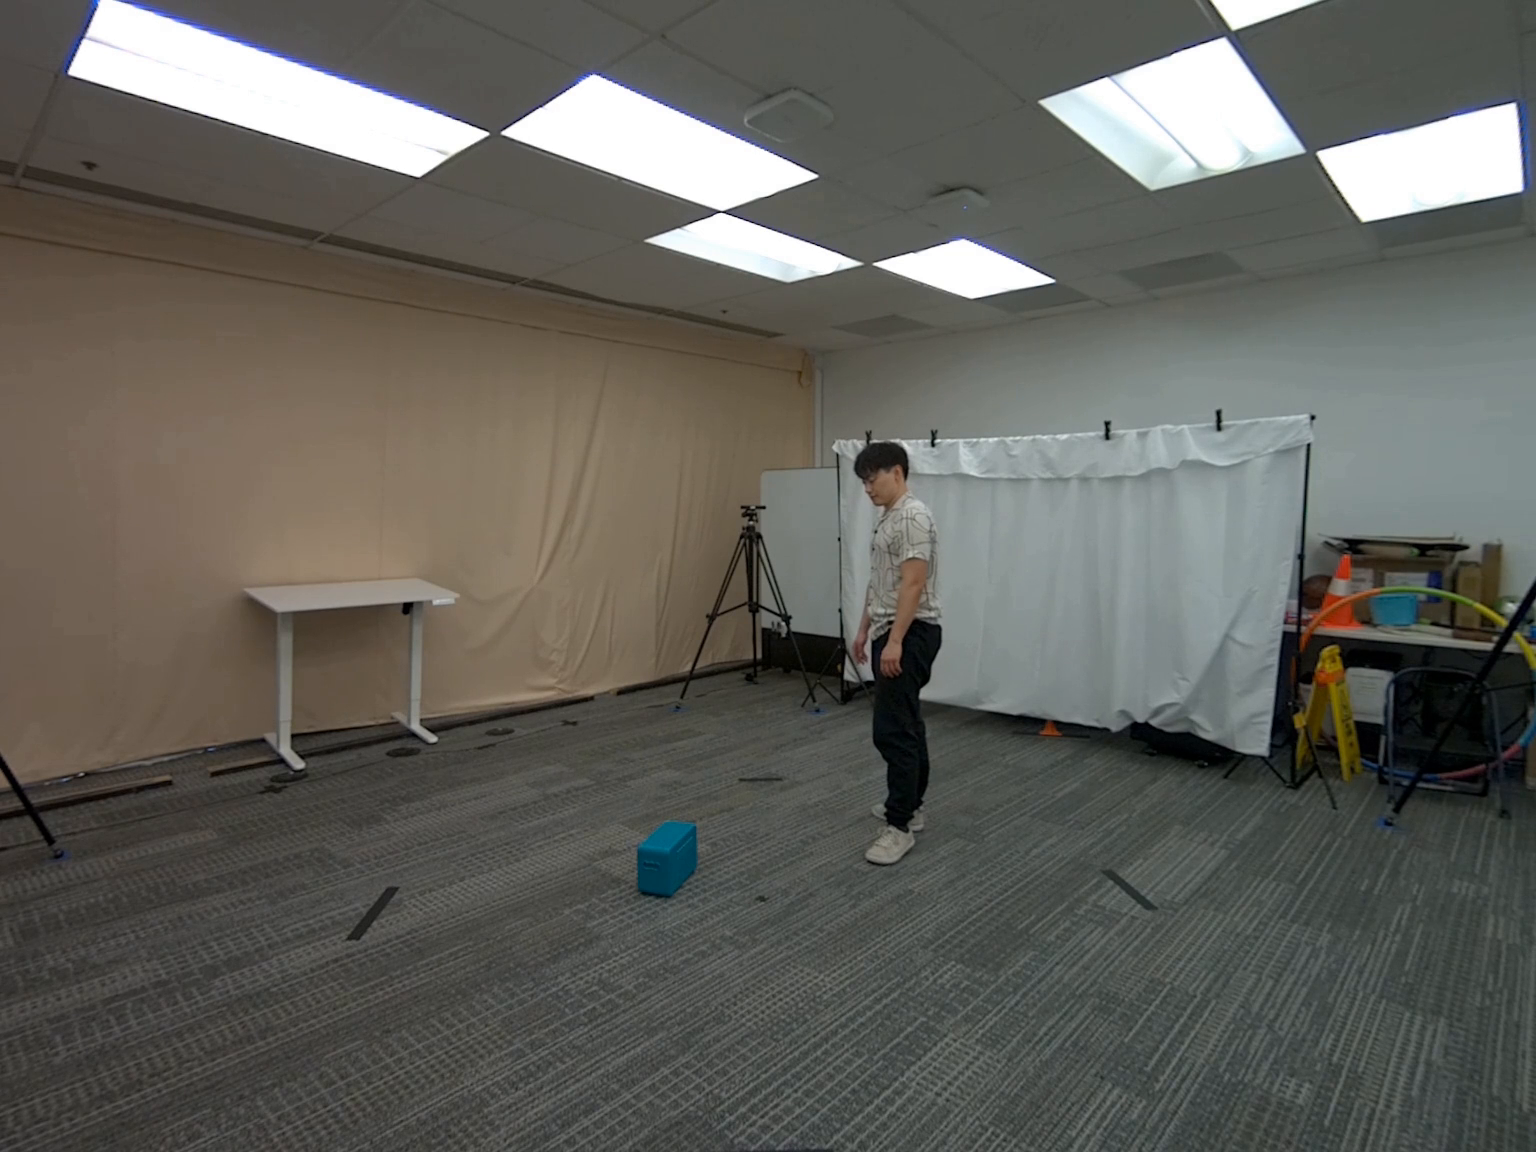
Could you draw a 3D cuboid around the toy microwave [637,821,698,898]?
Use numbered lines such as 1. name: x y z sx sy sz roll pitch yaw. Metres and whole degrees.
1. toy microwave: -0.377 1.044 3.123 0.155 0.184 0.281 1 5 18
